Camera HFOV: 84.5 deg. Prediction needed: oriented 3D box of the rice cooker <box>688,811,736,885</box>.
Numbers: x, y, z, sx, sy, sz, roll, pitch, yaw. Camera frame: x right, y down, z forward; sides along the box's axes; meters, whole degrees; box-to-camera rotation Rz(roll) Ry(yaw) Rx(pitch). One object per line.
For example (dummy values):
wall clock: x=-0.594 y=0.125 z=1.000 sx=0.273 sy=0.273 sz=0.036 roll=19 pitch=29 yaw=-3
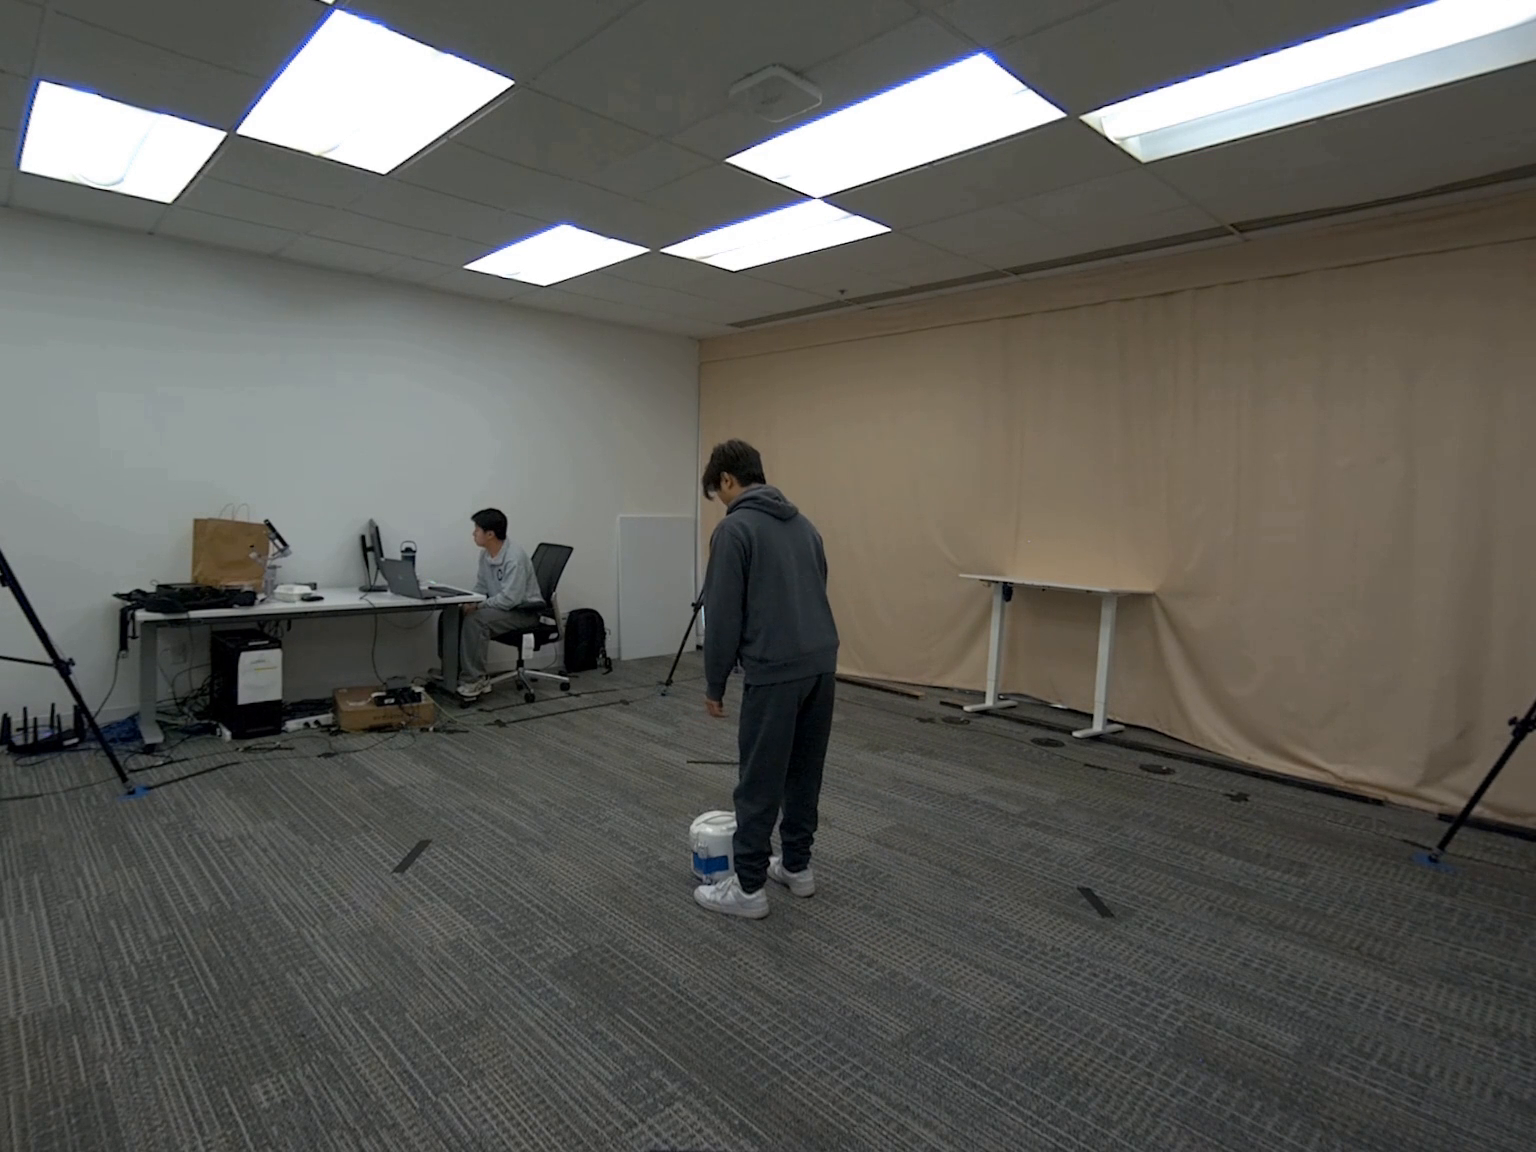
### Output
rice cooker: x=-0.191 y=0.986 z=3.110 sx=0.217 sy=0.232 sz=0.222 roll=0 pitch=6 yaw=-22
